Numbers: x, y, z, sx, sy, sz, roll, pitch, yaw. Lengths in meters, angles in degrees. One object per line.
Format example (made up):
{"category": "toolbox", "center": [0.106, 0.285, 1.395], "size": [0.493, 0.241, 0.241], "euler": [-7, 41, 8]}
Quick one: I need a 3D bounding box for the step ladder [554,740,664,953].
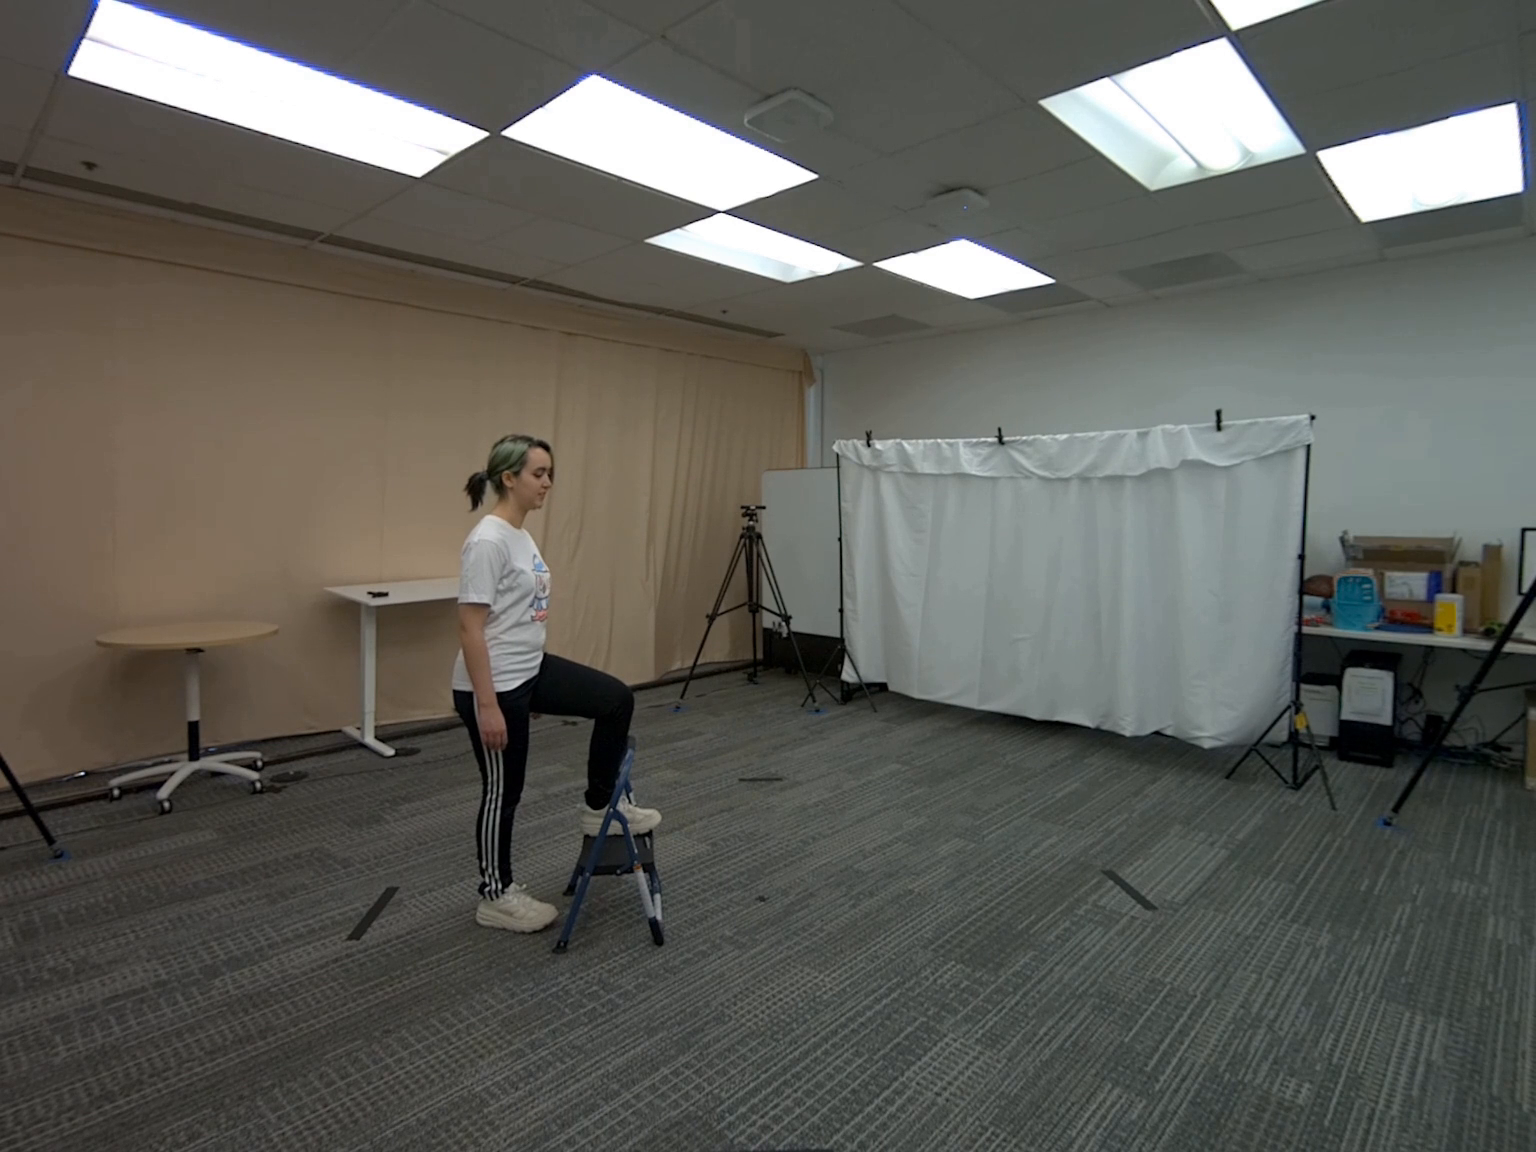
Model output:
{"category": "step ladder", "center": [-0.532, 0.865, 2.834], "size": [0.346, 0.605, 0.435], "euler": [-1, 3, -9]}
